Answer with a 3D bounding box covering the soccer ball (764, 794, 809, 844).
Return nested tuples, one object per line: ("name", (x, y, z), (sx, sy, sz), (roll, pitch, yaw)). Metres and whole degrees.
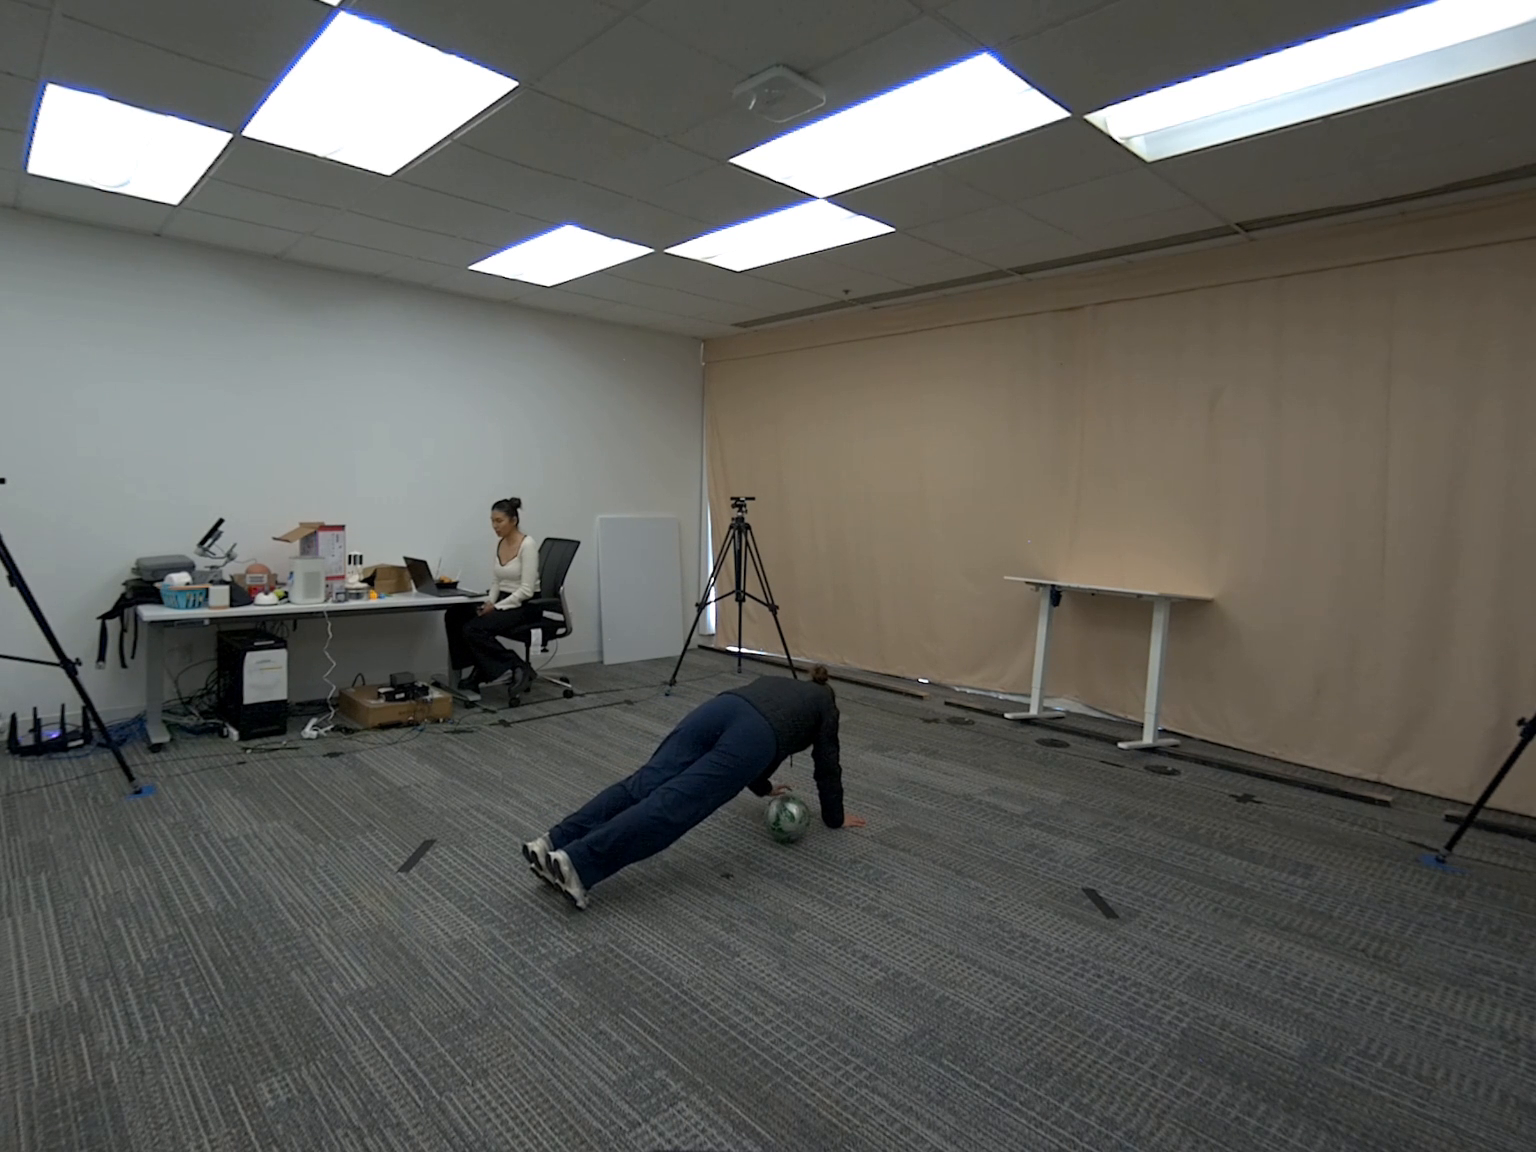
("soccer ball", (0.069, 0.994, 3.446), (0.187, 0.187, 0.188), (1, 4, -1))
